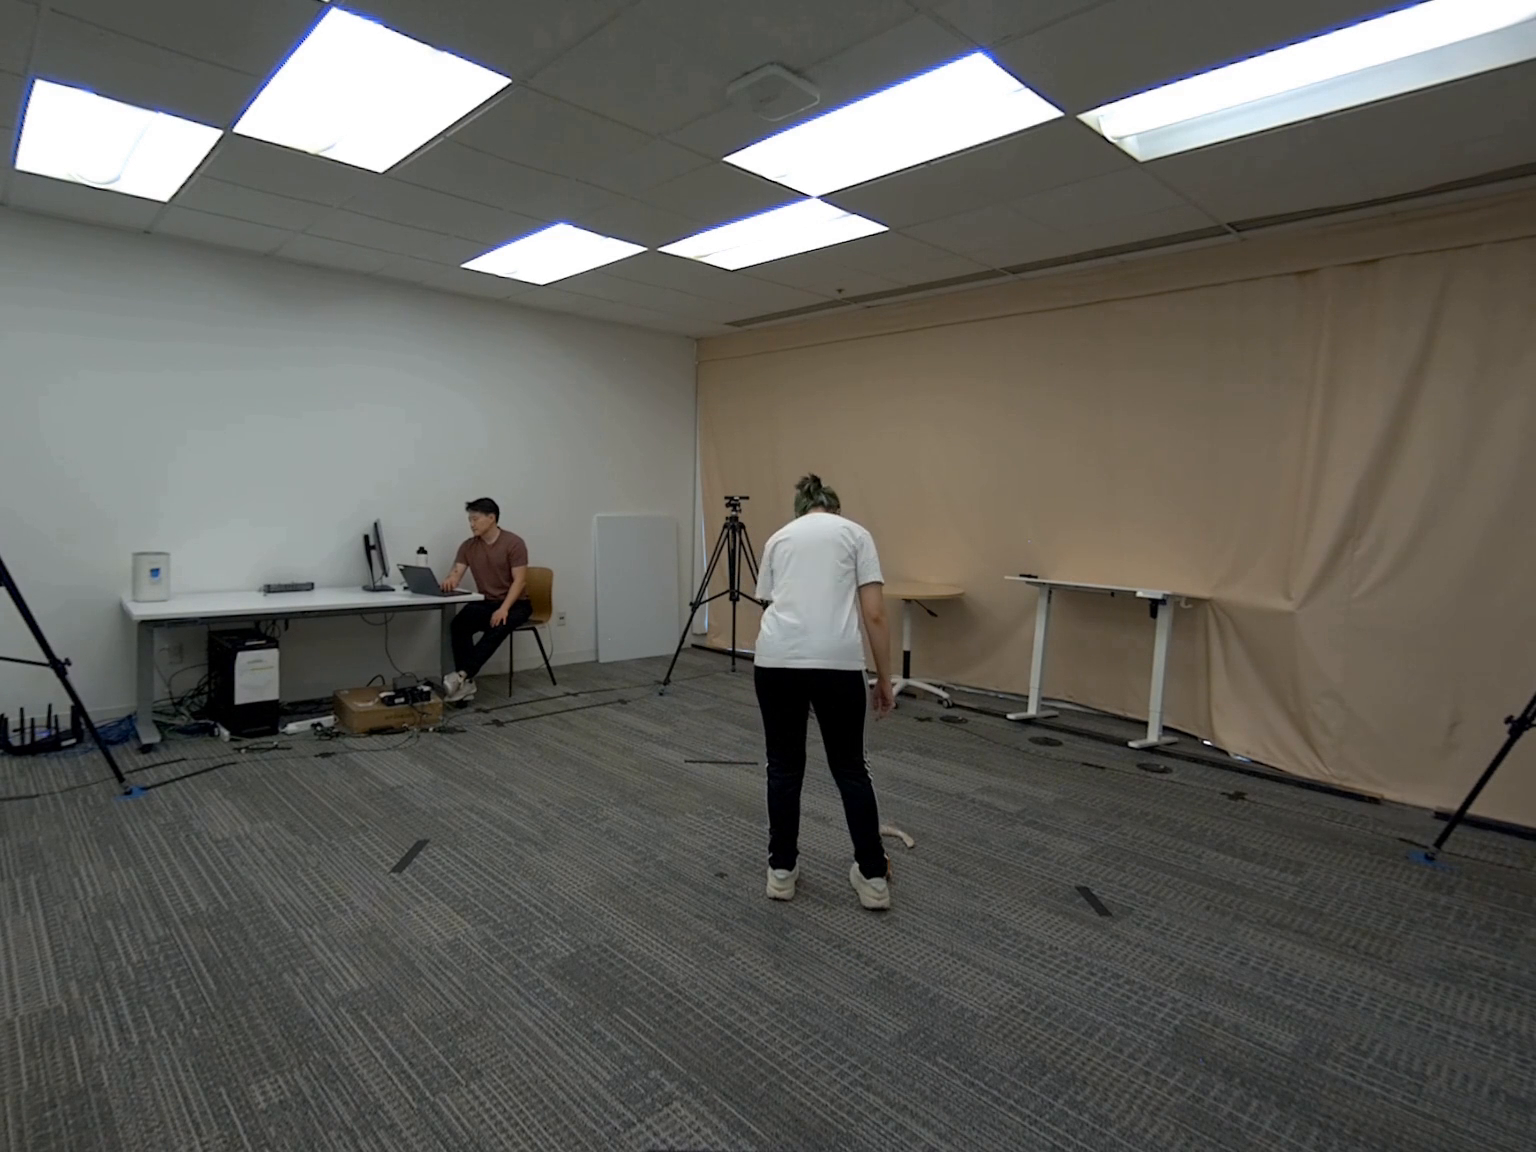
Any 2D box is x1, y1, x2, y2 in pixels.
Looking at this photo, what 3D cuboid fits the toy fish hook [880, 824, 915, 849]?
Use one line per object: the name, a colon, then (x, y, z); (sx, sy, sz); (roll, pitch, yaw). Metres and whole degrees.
toy fish hook: (0.480, 1.082, 3.319); (0.225, 0.048, 0.508); (1, 5, -1)
